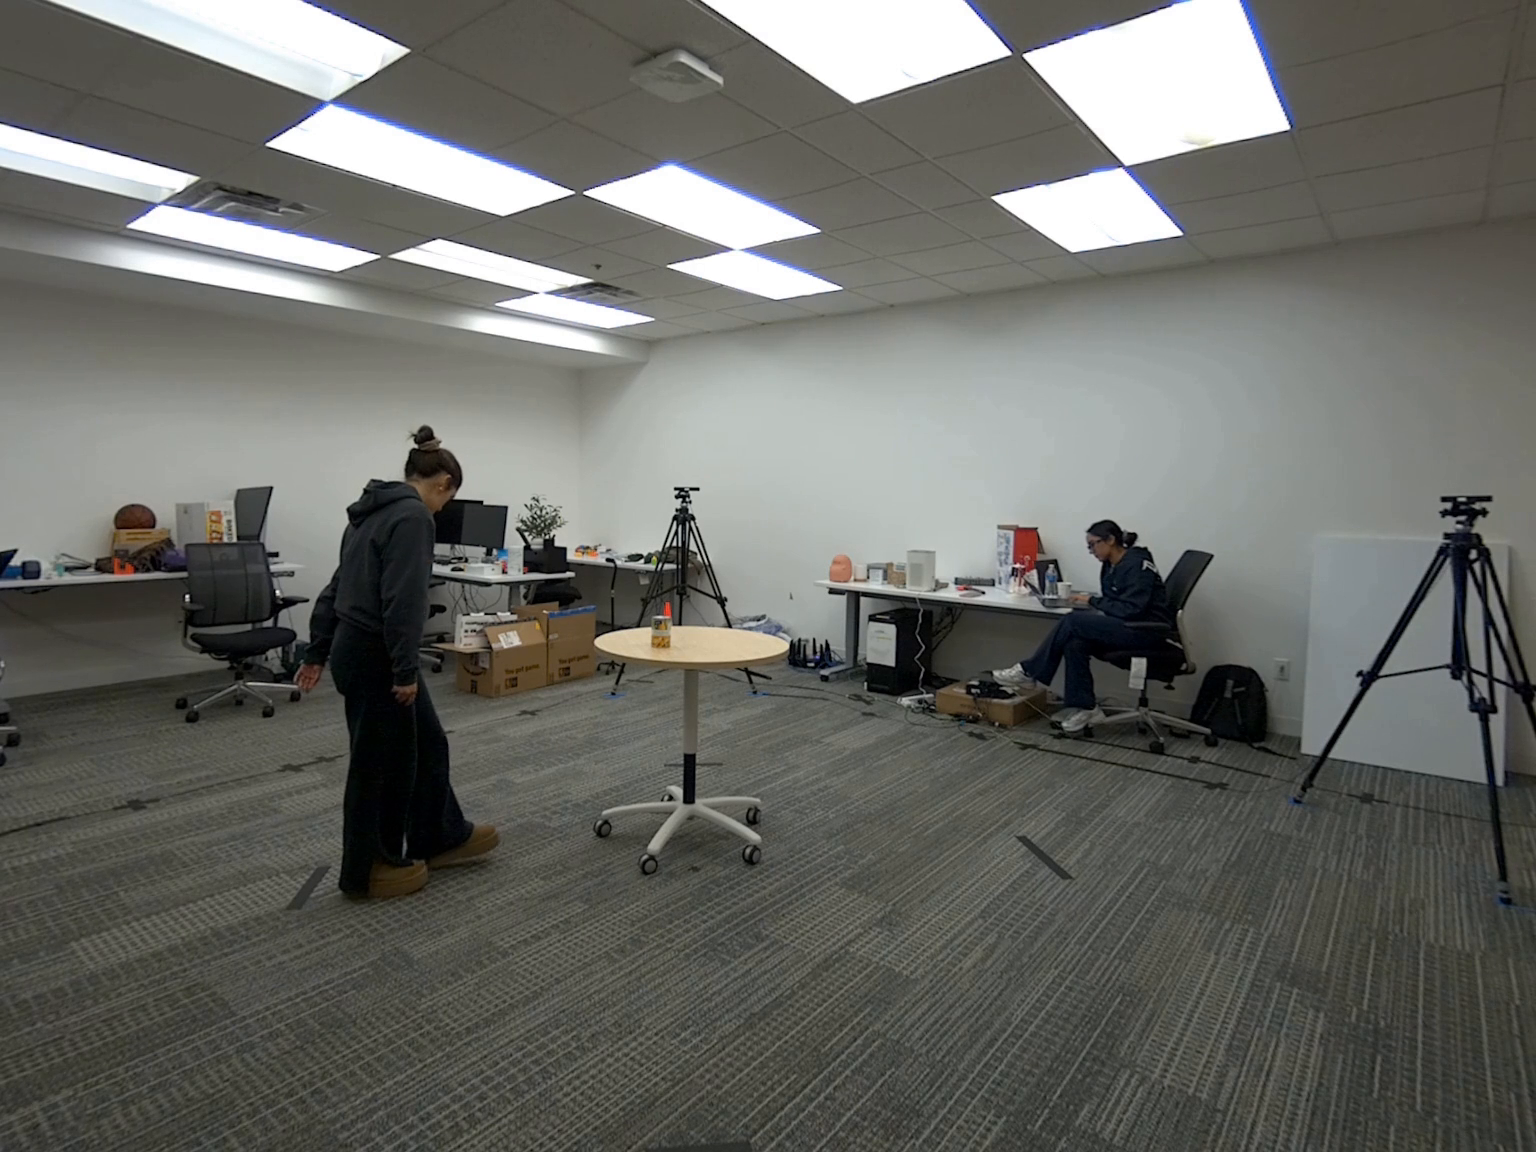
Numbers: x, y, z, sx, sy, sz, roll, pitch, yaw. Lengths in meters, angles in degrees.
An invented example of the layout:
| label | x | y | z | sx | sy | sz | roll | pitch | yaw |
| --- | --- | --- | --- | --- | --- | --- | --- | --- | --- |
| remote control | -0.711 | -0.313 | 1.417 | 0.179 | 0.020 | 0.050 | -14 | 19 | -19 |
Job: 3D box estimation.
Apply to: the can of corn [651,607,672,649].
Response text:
| label | x | y | z | sx | sy | sz | roll | pitch | yaw |
| --- | --- | --- | --- | --- | --- | --- | --- | --- | --- |
| can of corn | -0.413 | 0.214 | 3.244 | 0.074 | 0.111 | 0.074 | 1 | 4 | -2 |
